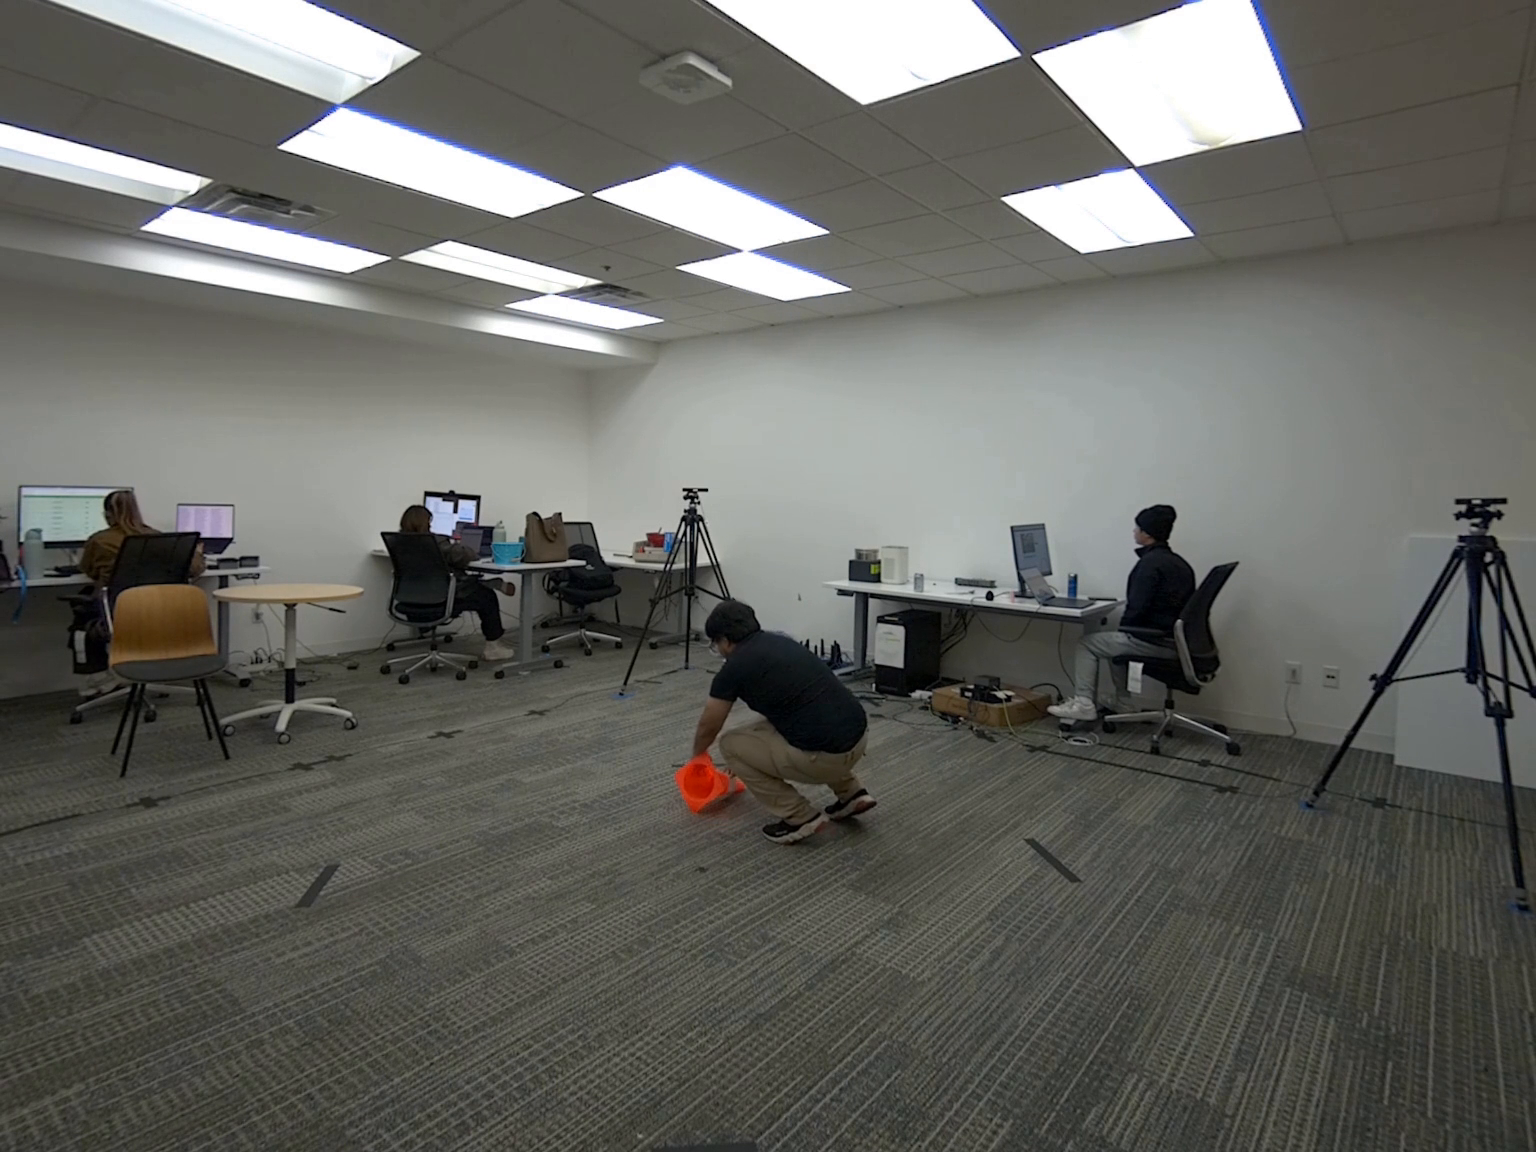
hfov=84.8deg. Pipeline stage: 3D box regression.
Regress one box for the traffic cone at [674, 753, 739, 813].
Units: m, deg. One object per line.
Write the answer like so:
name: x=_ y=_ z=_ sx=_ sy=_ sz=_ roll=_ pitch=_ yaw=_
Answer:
traffic cone: x=-0.219 y=0.941 z=3.833 sx=0.205 sy=0.211 sz=0.369 roll=-39 pitch=-32 yaw=15
